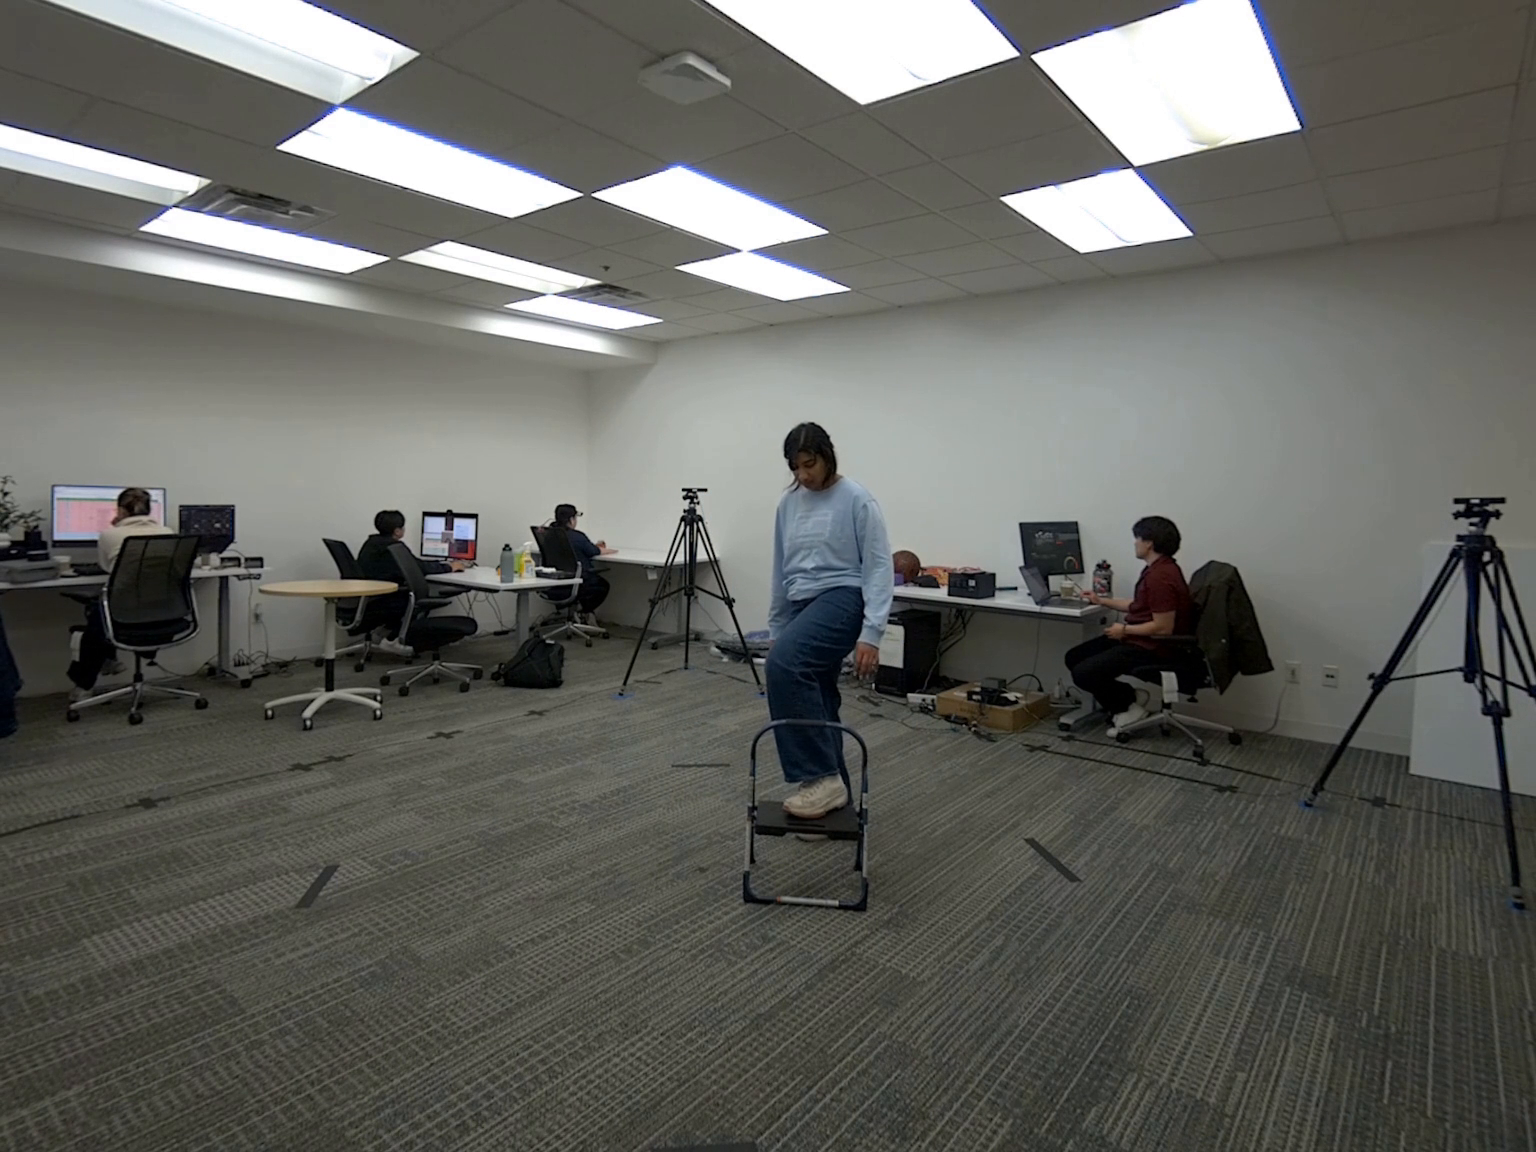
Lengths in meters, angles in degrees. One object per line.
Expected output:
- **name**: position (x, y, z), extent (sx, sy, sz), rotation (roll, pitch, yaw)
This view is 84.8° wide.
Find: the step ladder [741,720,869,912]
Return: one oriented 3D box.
- **step ladder**: position (0.128, 0.789, 2.990), extent (0.433, 0.604, 0.348), rotation (1, 3, 4)
